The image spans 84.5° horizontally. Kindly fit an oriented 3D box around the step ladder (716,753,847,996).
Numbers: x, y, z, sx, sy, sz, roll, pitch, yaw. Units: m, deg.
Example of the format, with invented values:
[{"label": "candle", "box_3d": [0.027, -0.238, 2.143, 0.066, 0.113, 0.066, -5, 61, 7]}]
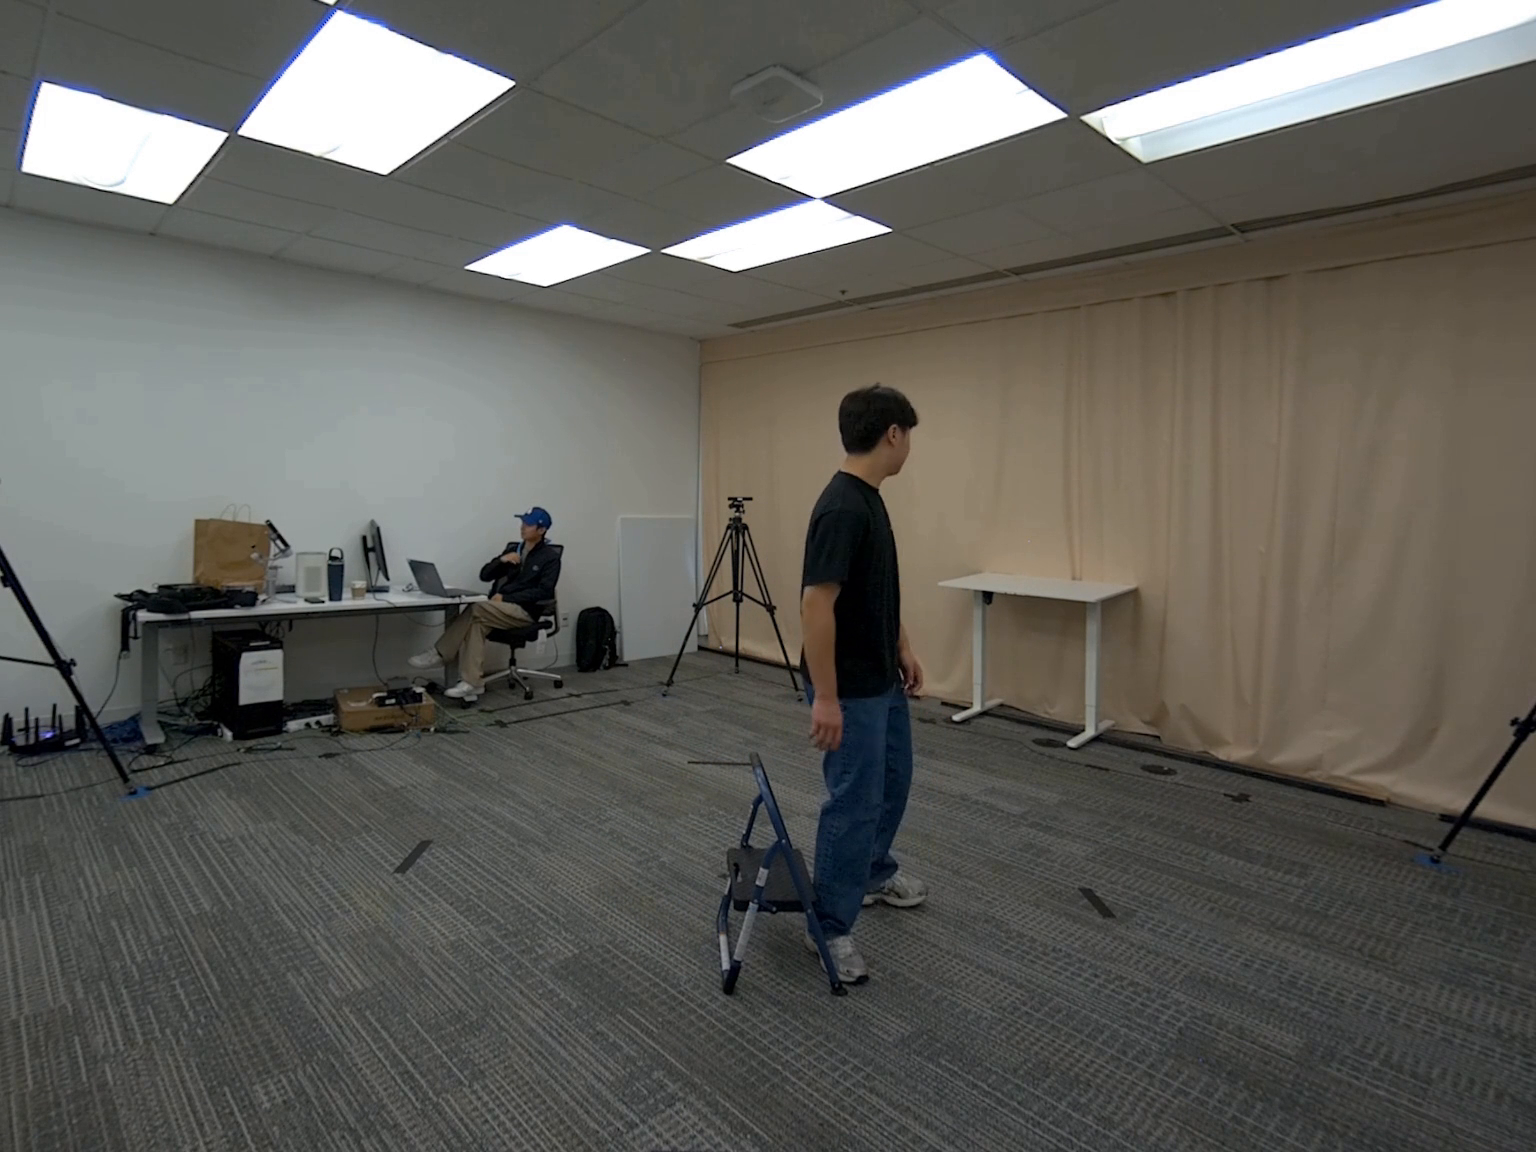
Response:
[{"label": "step ladder", "box_3d": [0.024, 0.866, 2.550, 0.347, 0.605, 0.434, 2, 4, -7]}]
